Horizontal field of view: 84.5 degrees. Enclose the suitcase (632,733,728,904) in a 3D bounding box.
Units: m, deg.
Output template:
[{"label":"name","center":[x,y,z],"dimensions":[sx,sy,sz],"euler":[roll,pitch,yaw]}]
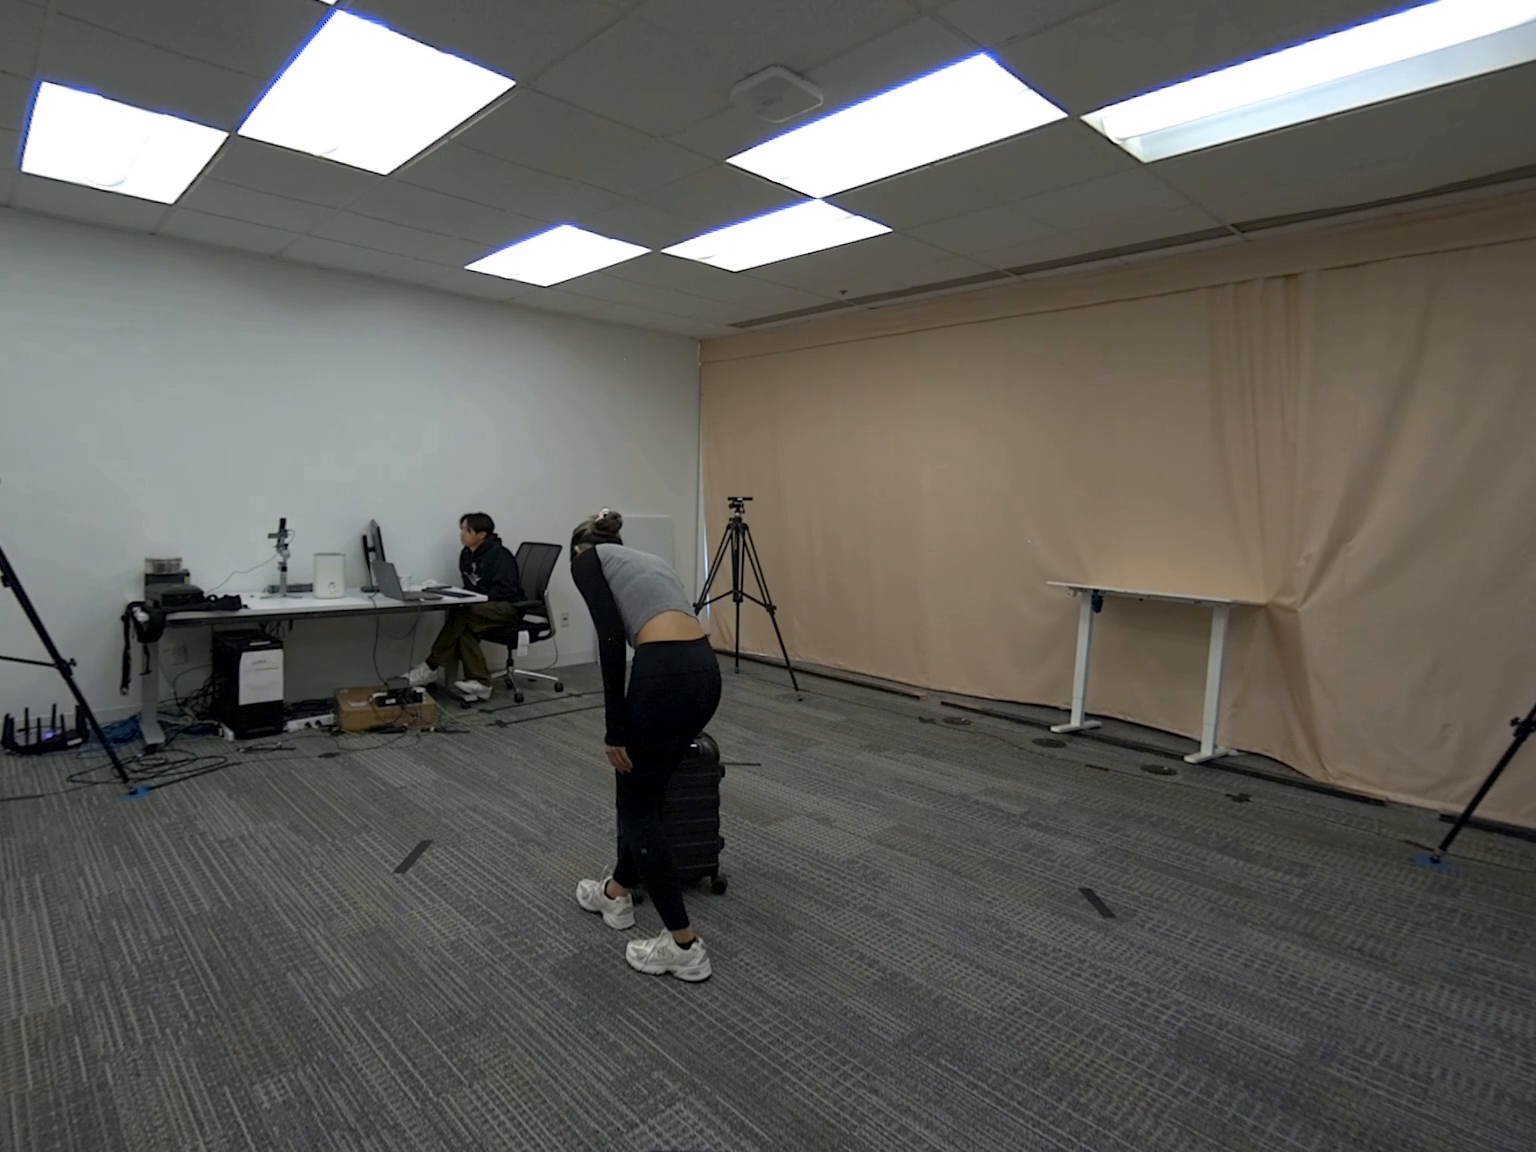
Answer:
[{"label":"suitcase","center":[-0.365,0.834,3.023],"dimensions":[0.370,0.549,0.252],"euler":[0,2,-20]}]
